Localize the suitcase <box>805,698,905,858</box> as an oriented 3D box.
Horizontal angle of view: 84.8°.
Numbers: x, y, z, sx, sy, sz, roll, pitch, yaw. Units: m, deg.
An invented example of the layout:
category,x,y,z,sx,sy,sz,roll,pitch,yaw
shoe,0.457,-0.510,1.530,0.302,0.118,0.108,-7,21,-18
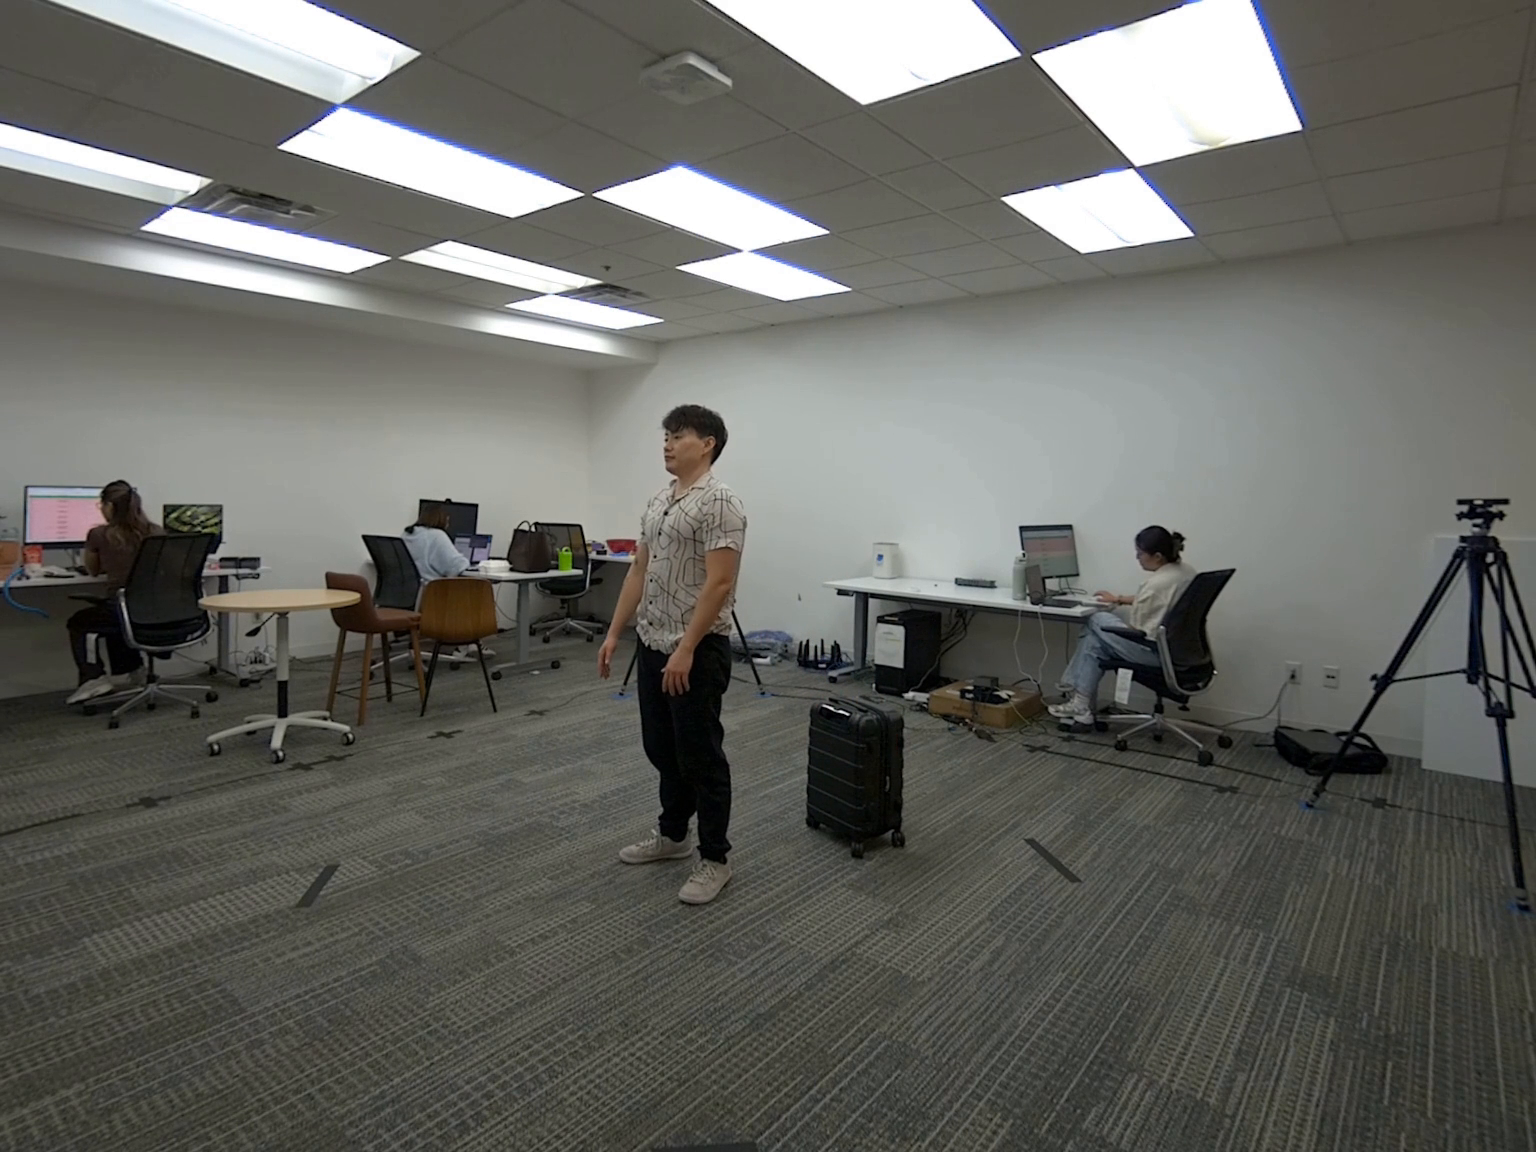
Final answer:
category,x,y,z,sx,sy,sz,roll,pitch,yaw
suitcase,0.345,0.773,3.444,0.241,0.548,0.387,-1,4,-34
